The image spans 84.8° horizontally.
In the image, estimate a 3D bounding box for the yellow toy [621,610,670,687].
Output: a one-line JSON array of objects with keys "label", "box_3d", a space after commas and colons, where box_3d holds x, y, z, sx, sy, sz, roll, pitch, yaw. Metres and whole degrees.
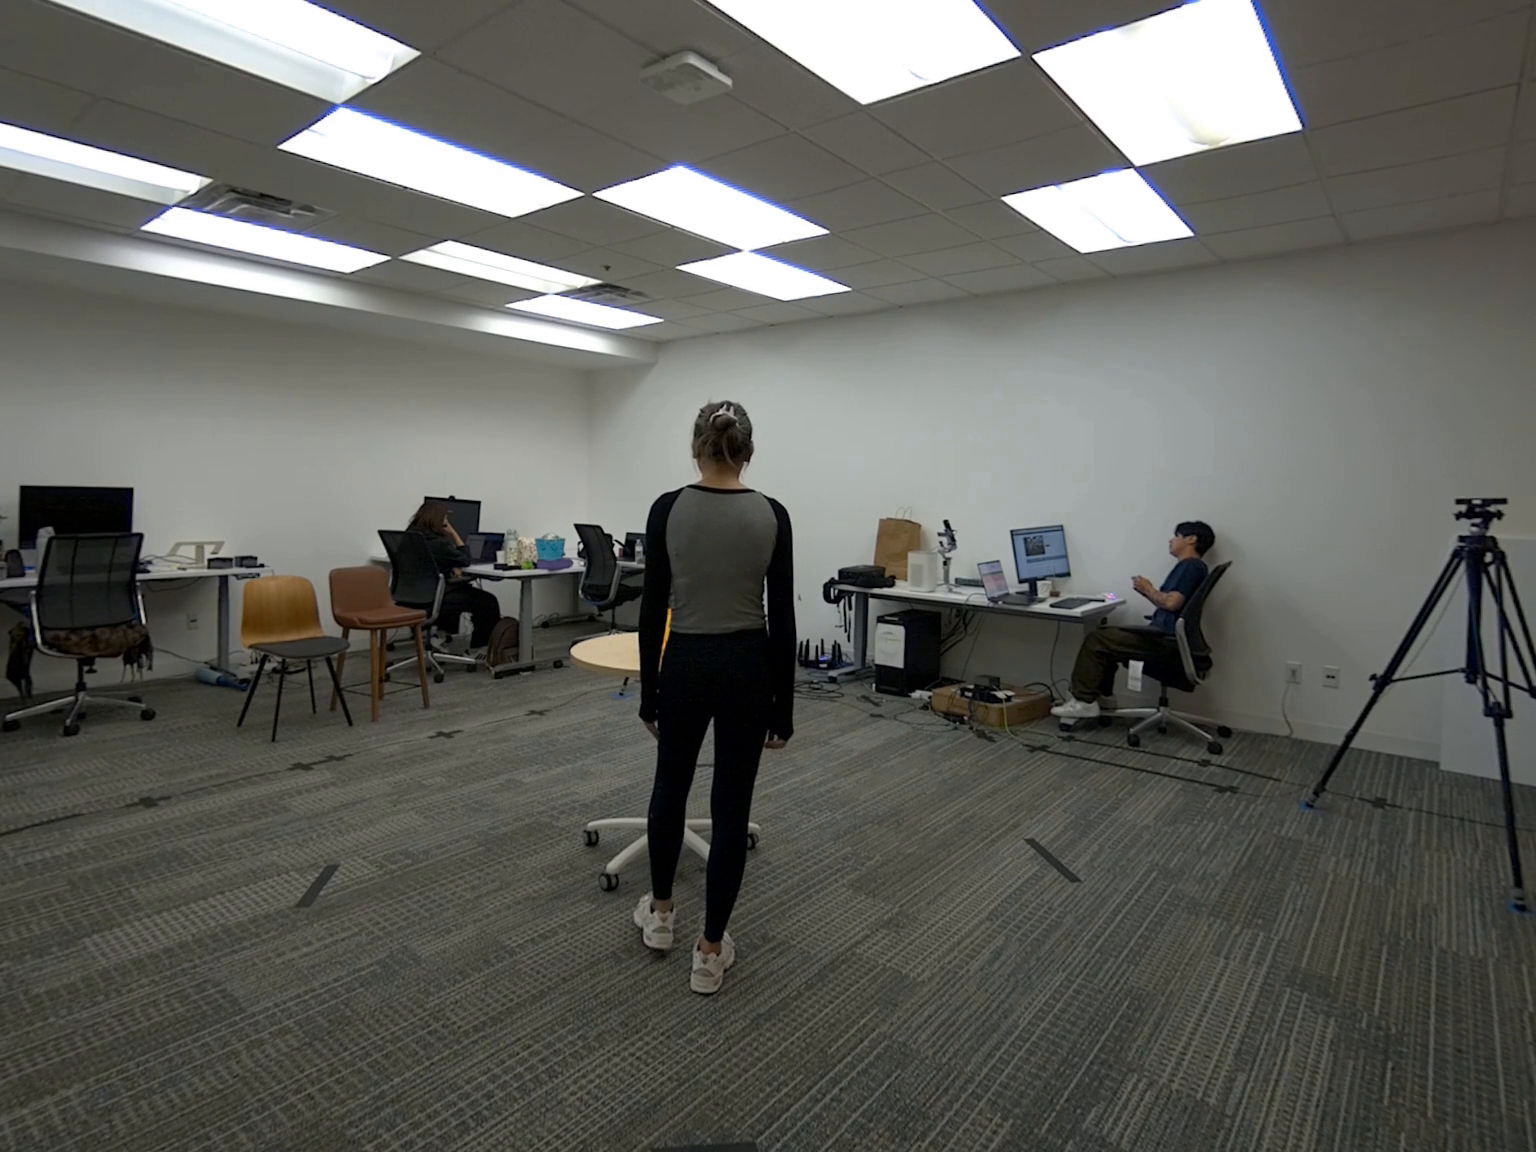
[{"label": "yellow toy", "box_3d": [-0.369, 0.223, 3.044, 0.200, 0.196, 0.232, 24, -28, -17]}]
